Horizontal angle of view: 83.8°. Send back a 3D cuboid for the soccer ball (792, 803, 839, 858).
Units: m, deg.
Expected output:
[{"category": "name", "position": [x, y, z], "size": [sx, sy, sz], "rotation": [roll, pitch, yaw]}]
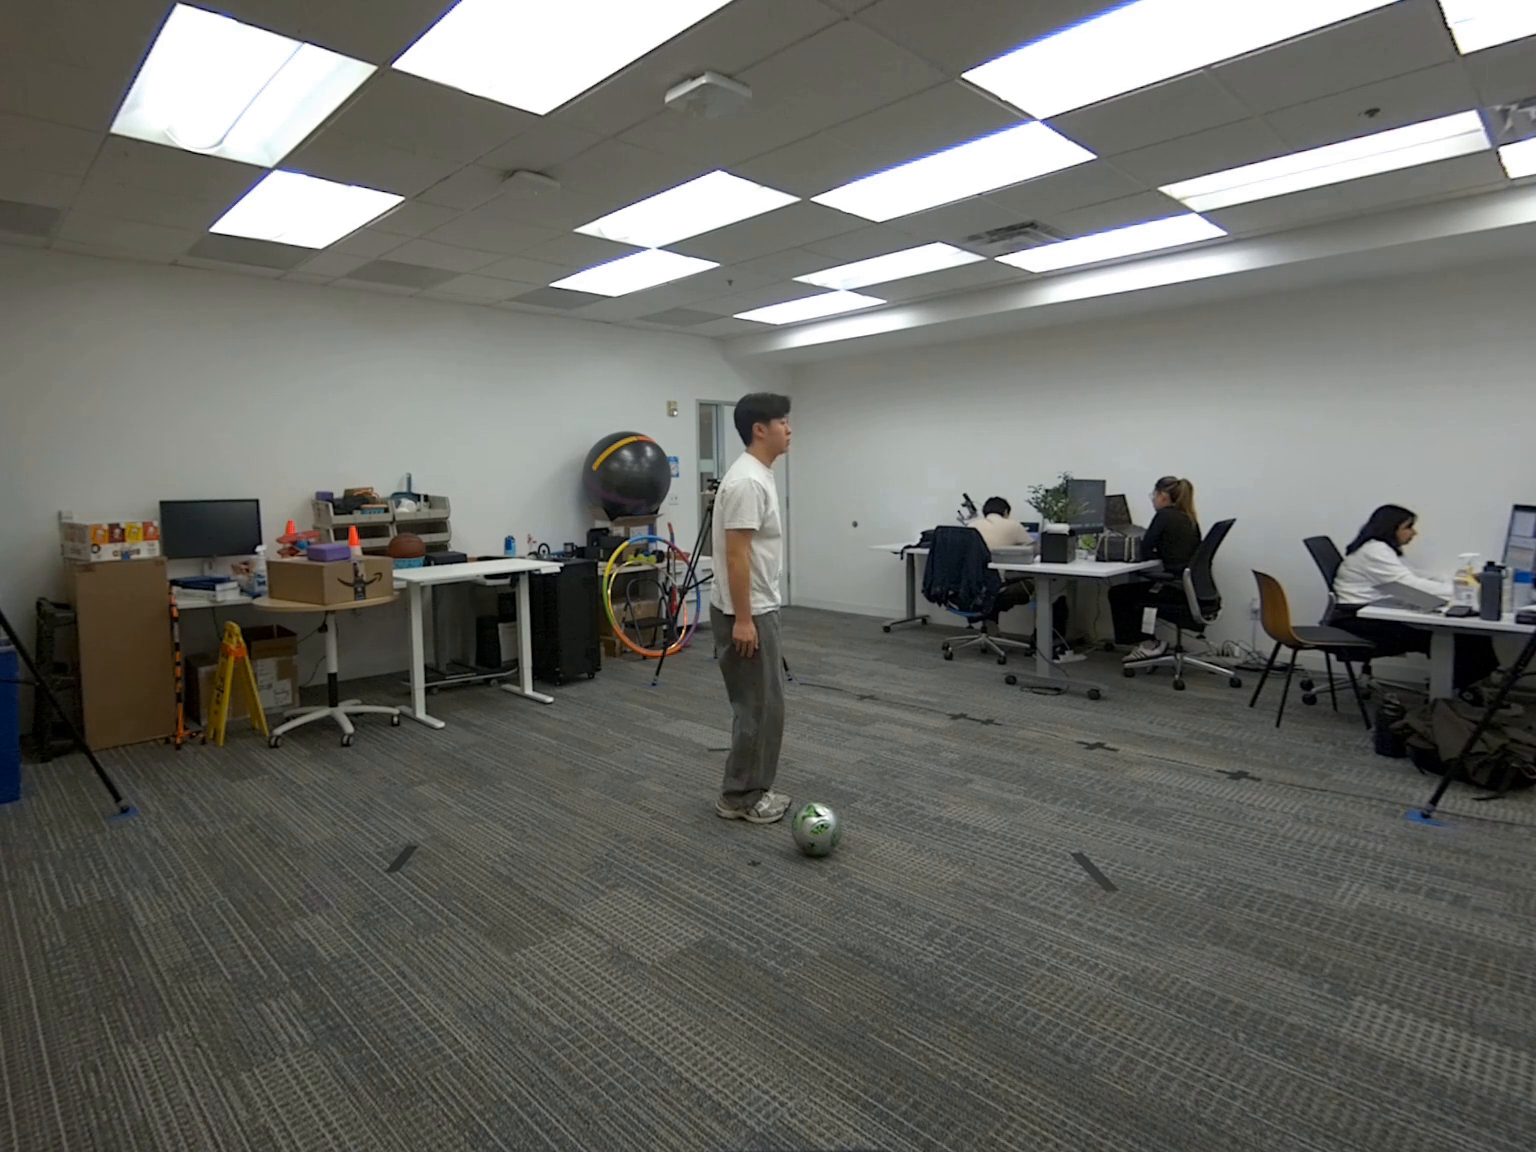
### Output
[{"category": "soccer ball", "position": [0.185, 0.938, 3.177], "size": [0.187, 0.187, 0.188], "rotation": [-1, 5, -2]}]
